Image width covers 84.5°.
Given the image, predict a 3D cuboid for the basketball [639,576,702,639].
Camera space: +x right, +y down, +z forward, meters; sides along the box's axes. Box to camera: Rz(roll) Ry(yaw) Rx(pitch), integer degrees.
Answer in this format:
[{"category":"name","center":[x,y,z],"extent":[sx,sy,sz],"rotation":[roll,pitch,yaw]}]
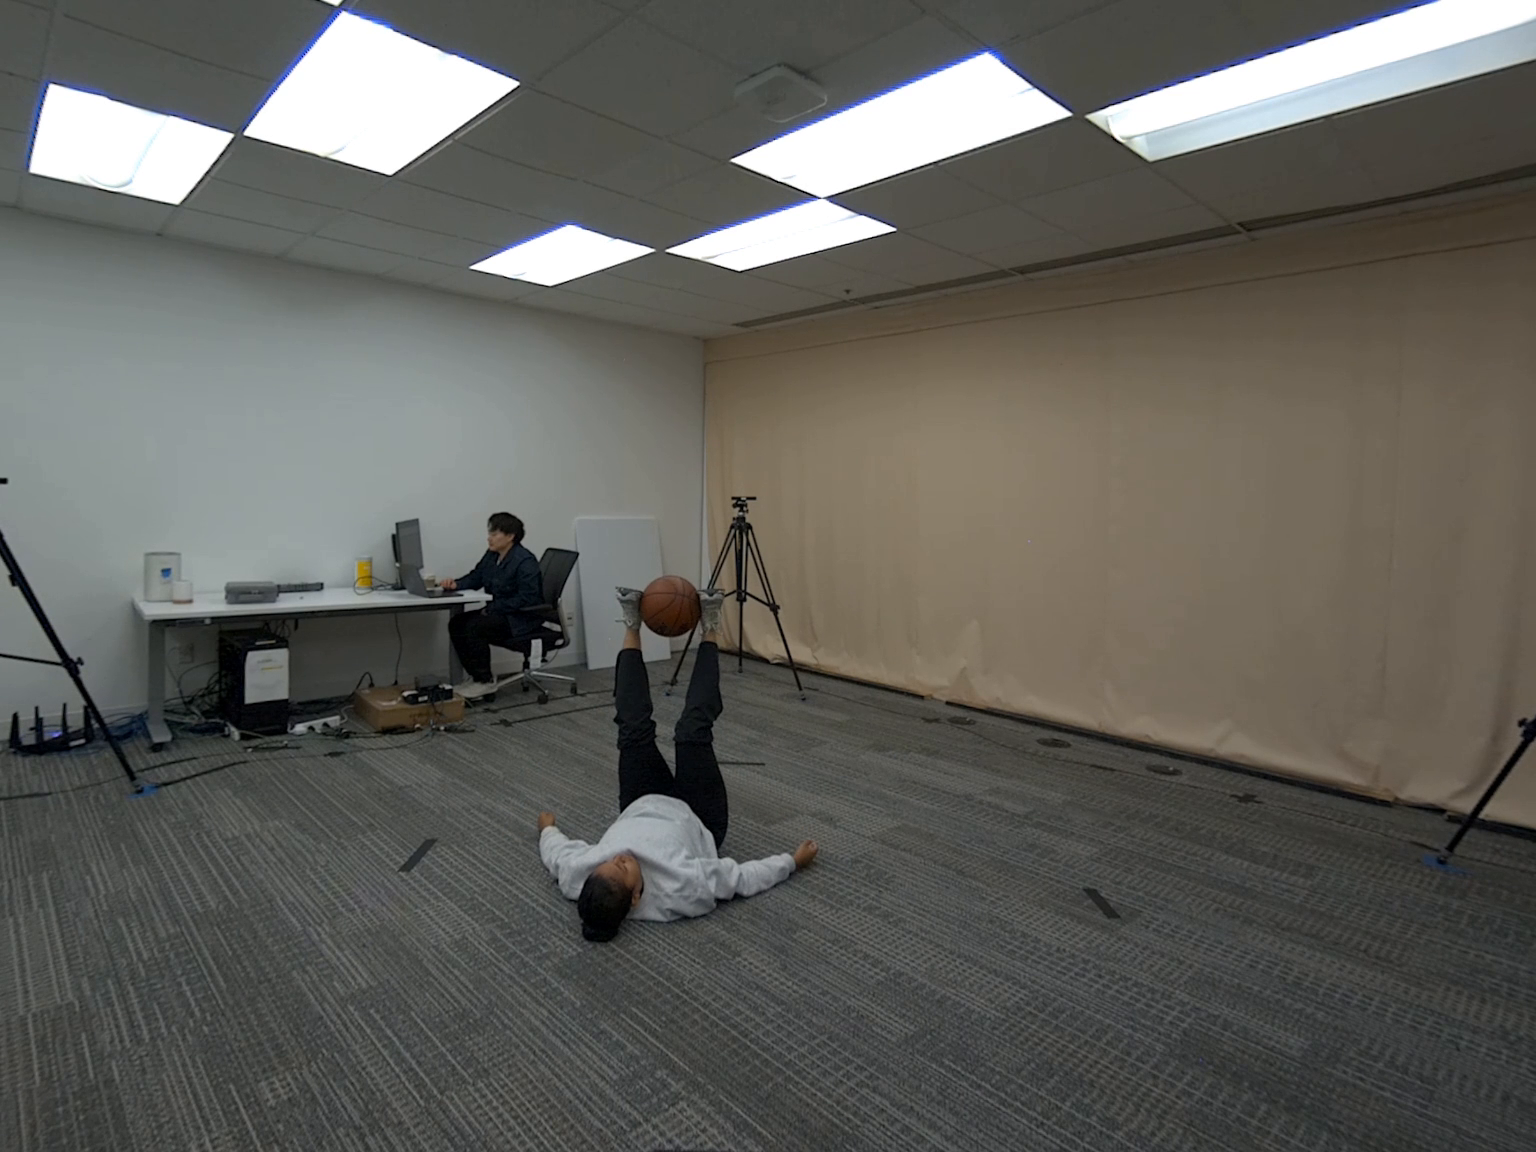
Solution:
[{"category":"basketball","center":[-0.385,0.116,3.256],"extent":[0.235,0.235,0.237],"rotation":[4,7,-2]}]
